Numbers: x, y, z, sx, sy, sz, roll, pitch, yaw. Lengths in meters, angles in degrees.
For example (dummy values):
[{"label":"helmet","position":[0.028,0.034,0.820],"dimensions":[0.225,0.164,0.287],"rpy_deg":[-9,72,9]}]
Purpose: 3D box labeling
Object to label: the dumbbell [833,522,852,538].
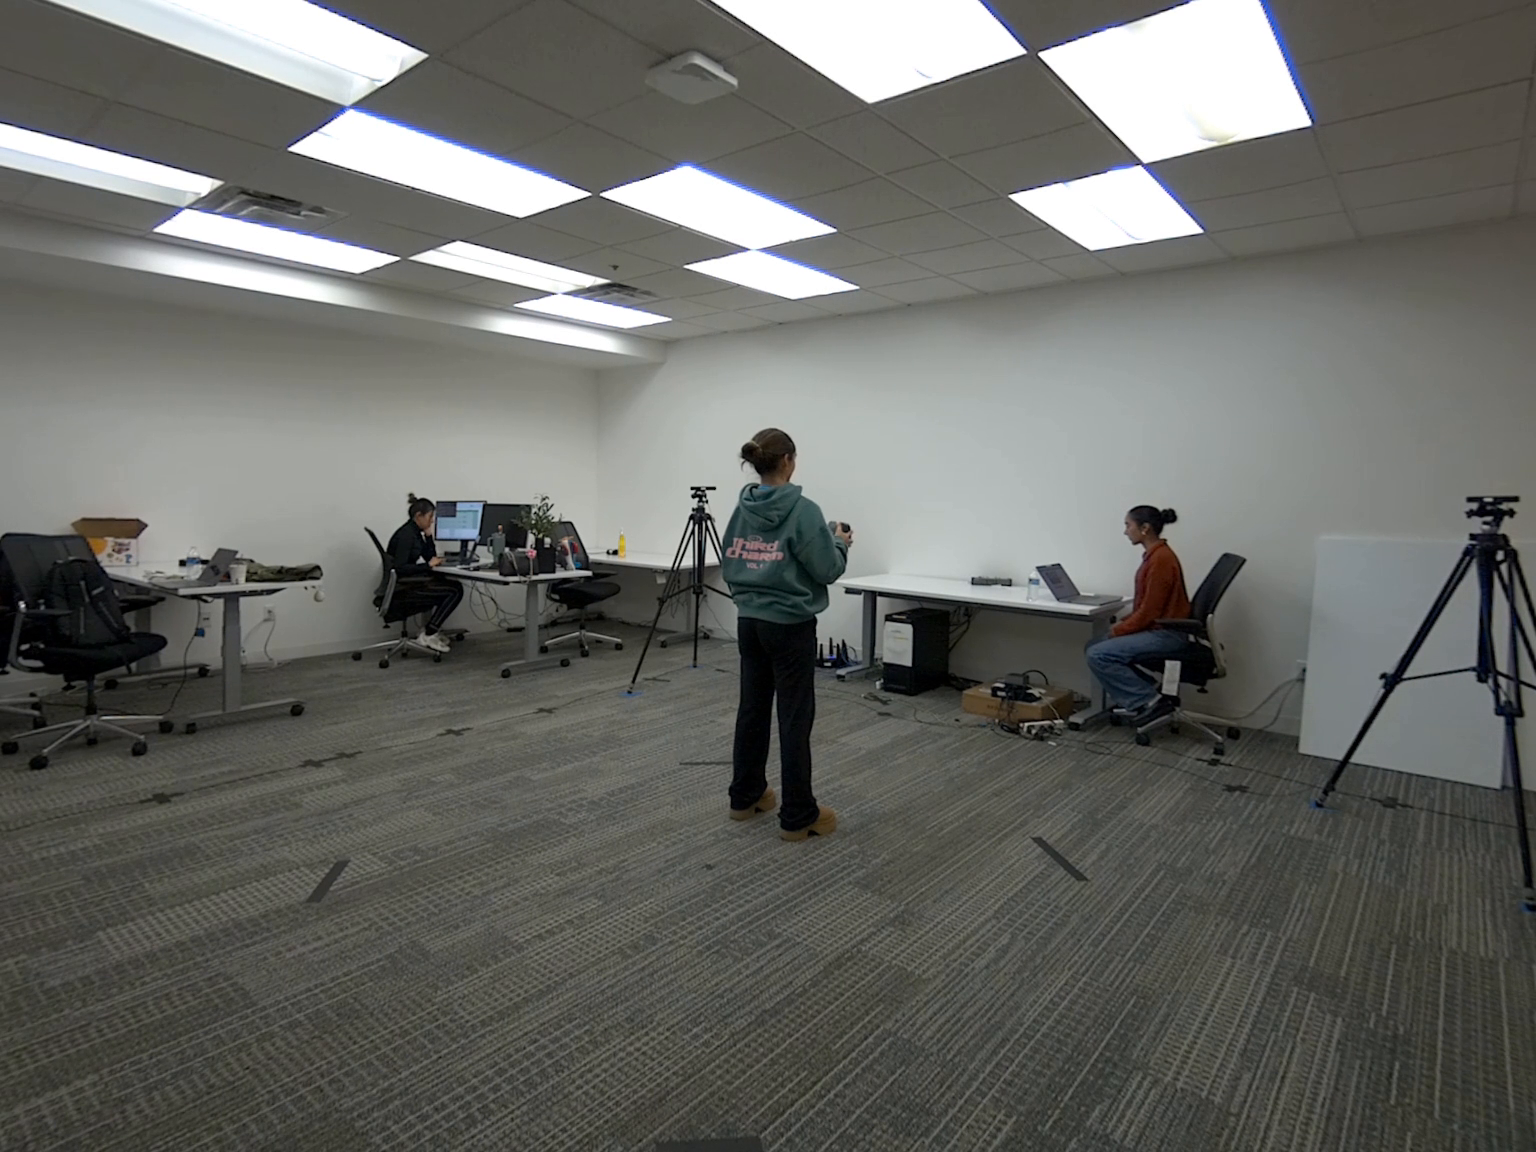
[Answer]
[{"label":"dumbbell","position":[0.194,-0.189,3.700],"dimensions":[0.304,0.109,0.118],"rpy_deg":[11,-1,37]}]
